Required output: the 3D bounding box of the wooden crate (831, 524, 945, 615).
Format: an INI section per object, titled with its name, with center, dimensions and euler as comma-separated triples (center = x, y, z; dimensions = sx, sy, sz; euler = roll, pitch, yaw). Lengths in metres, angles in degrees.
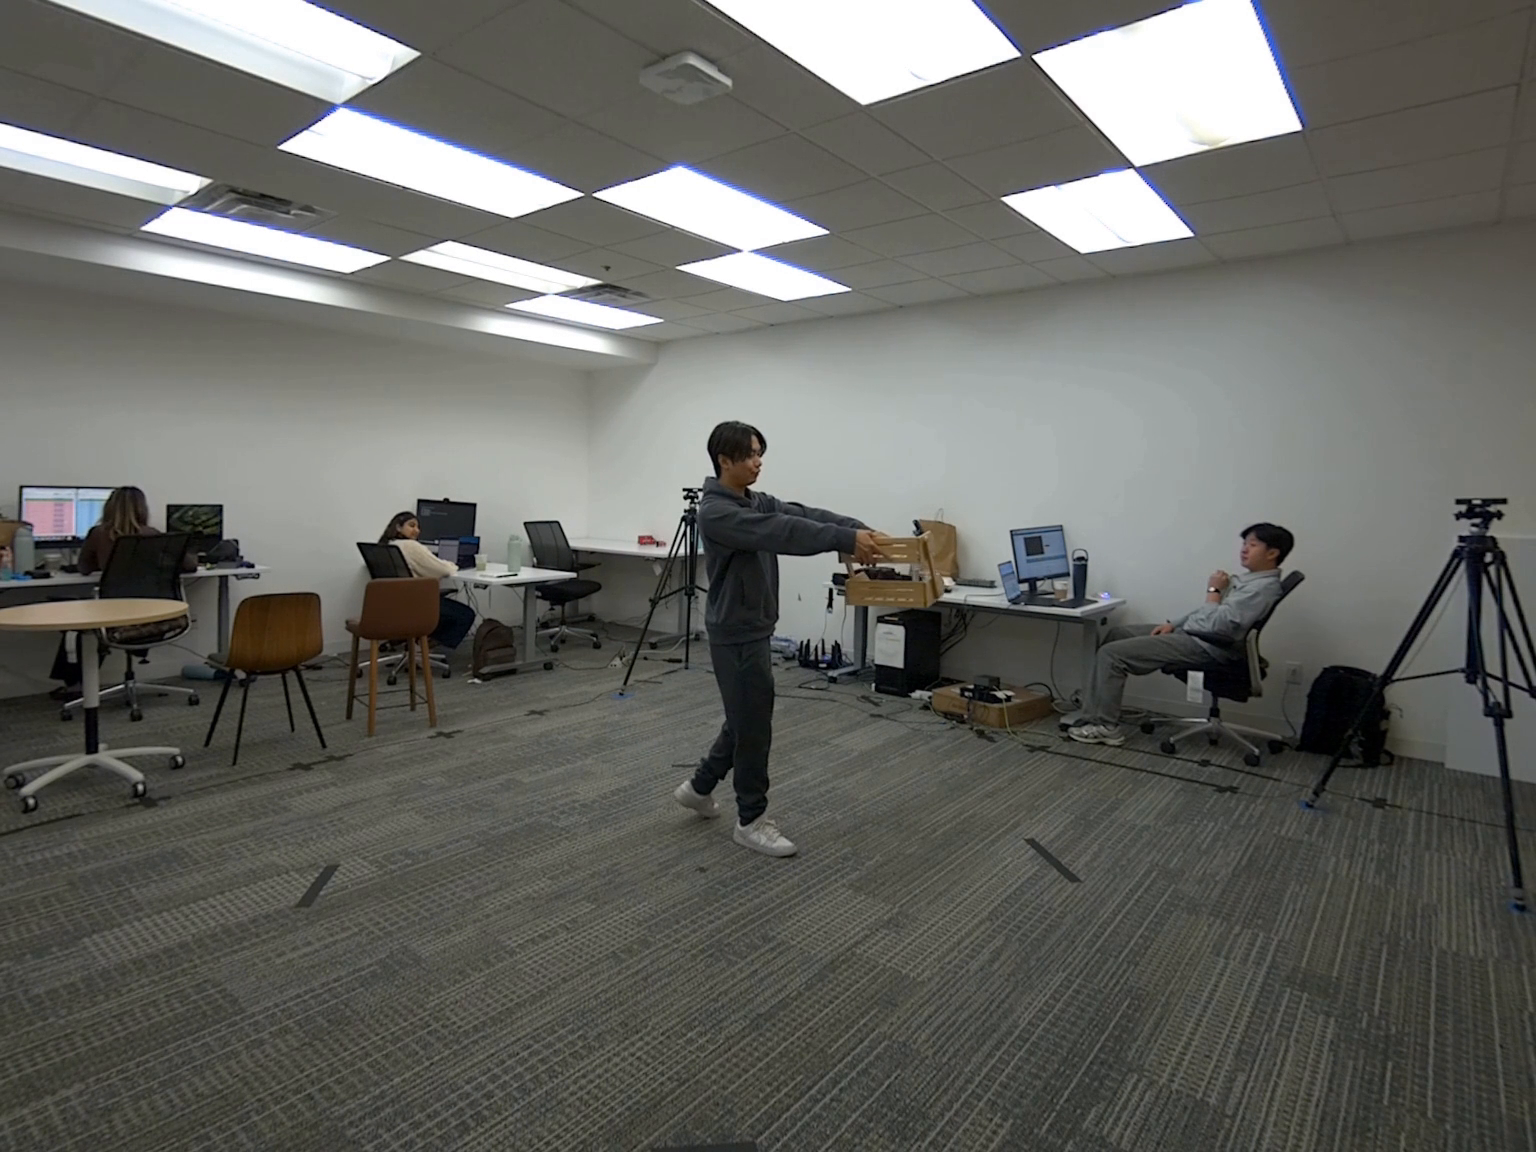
[wooden crate]
center = 0.448, -0.036, 3.133
dimensions = 0.333, 0.271, 0.297
euler = 1, 11, 28
